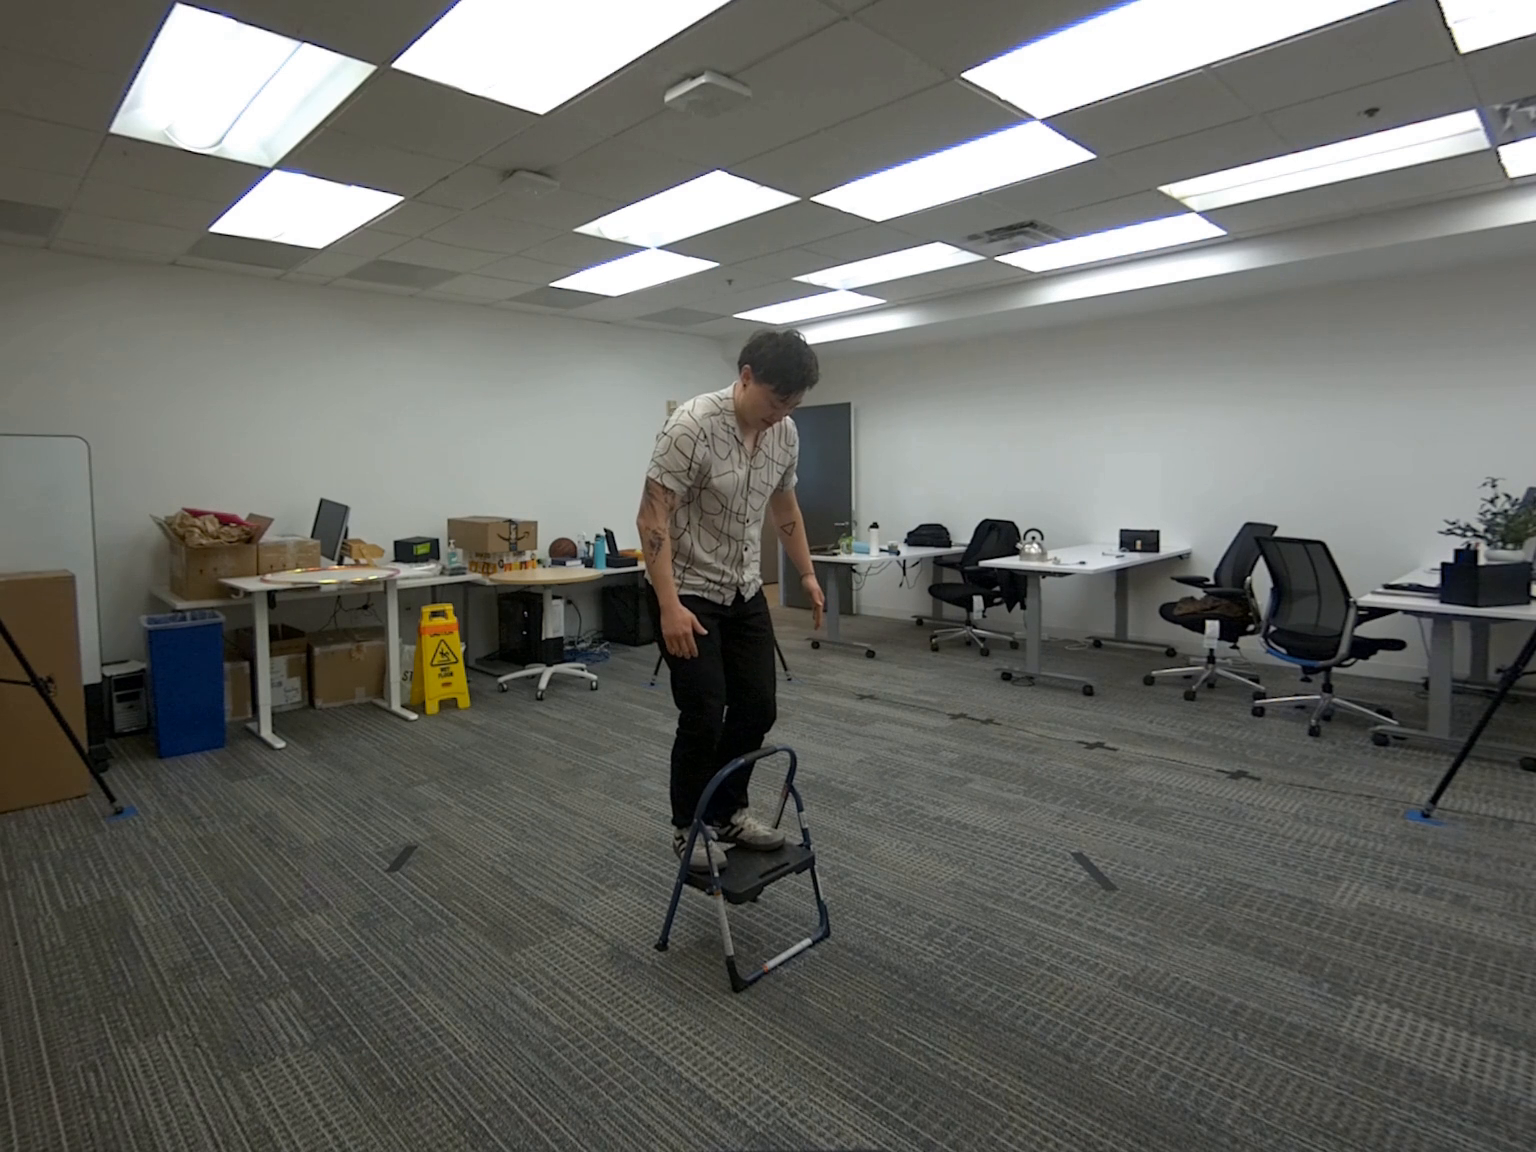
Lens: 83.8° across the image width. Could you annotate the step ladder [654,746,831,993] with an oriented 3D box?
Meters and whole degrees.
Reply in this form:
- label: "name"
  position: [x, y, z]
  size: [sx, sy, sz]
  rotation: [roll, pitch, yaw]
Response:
- label: "step ladder"
  position: [-0.072, 0.803, 2.563]
  size: [0.360, 0.603, 0.419]
  rotation: [4, 7, 43]
